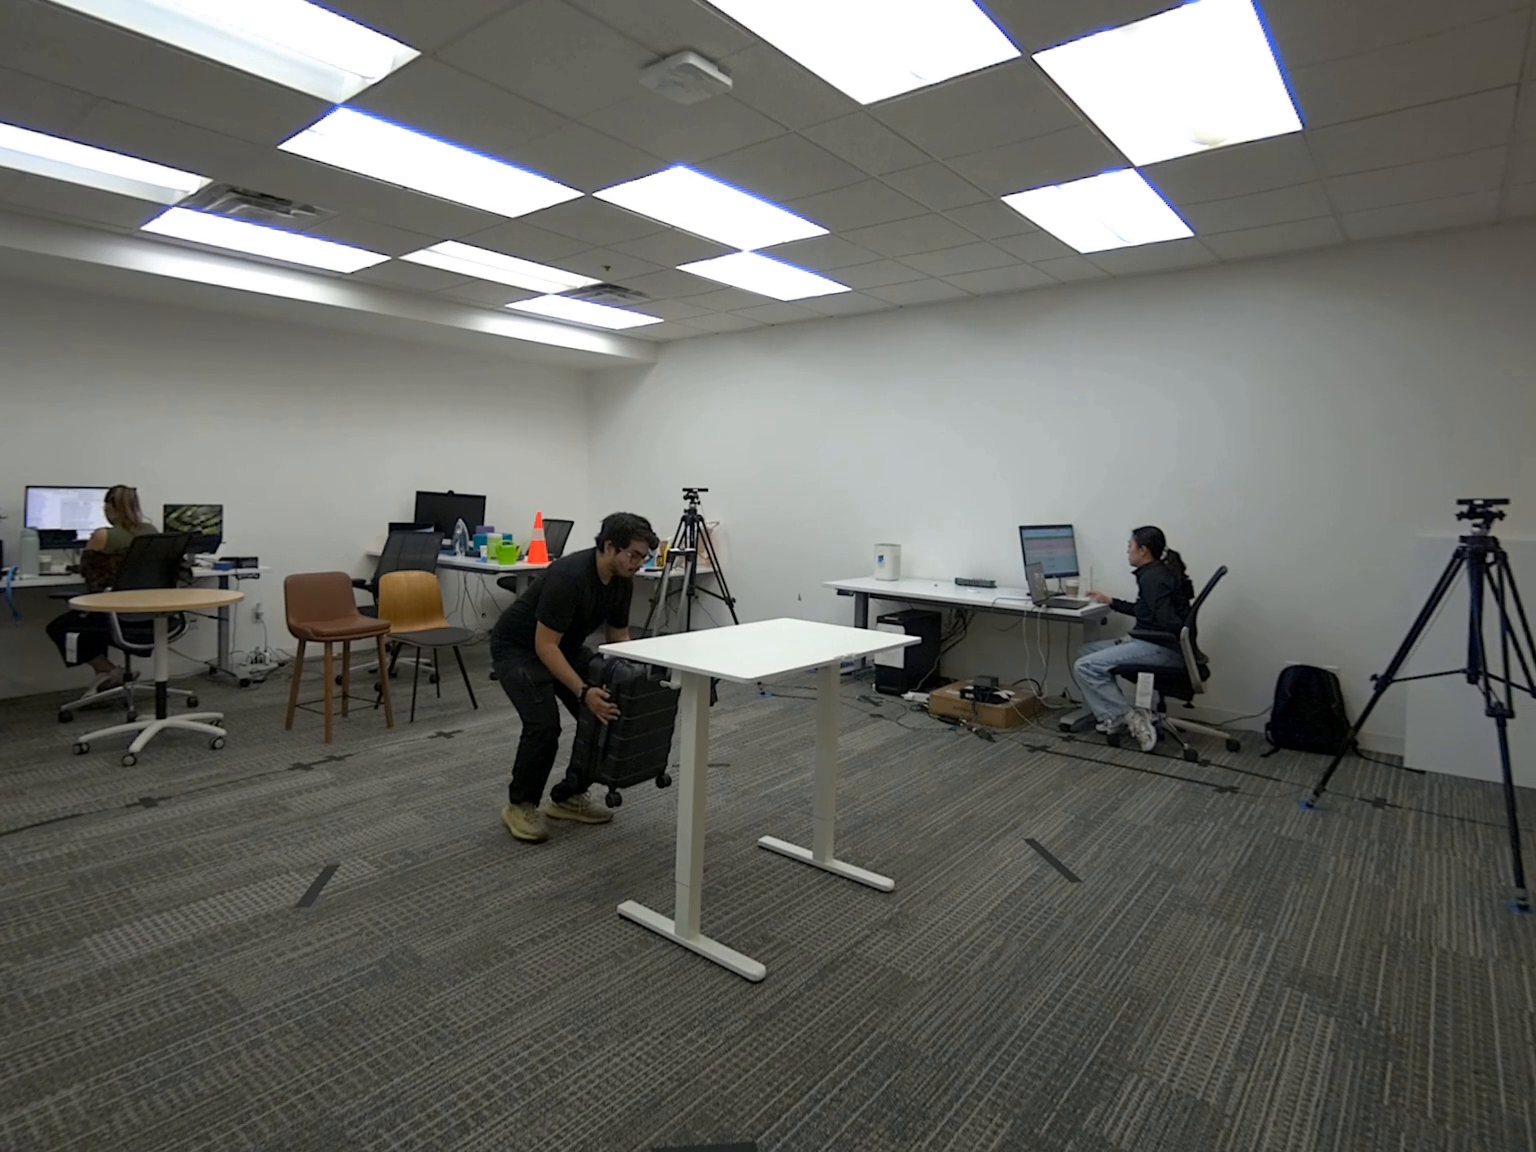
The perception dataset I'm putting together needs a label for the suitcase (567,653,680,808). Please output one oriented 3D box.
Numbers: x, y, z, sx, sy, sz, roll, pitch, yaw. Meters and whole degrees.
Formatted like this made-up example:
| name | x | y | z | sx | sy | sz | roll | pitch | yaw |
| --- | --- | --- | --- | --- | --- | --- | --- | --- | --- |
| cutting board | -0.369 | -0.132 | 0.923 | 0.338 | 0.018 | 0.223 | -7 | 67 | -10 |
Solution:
| name | x | y | z | sx | sy | sz | roll | pitch | yaw |
| --- | --- | --- | --- | --- | --- | --- | --- | --- | --- |
| suitcase | -0.528 | 0.361 | 3.298 | 0.266 | 0.973 | 0.372 | 13 | 9 | 35 |
